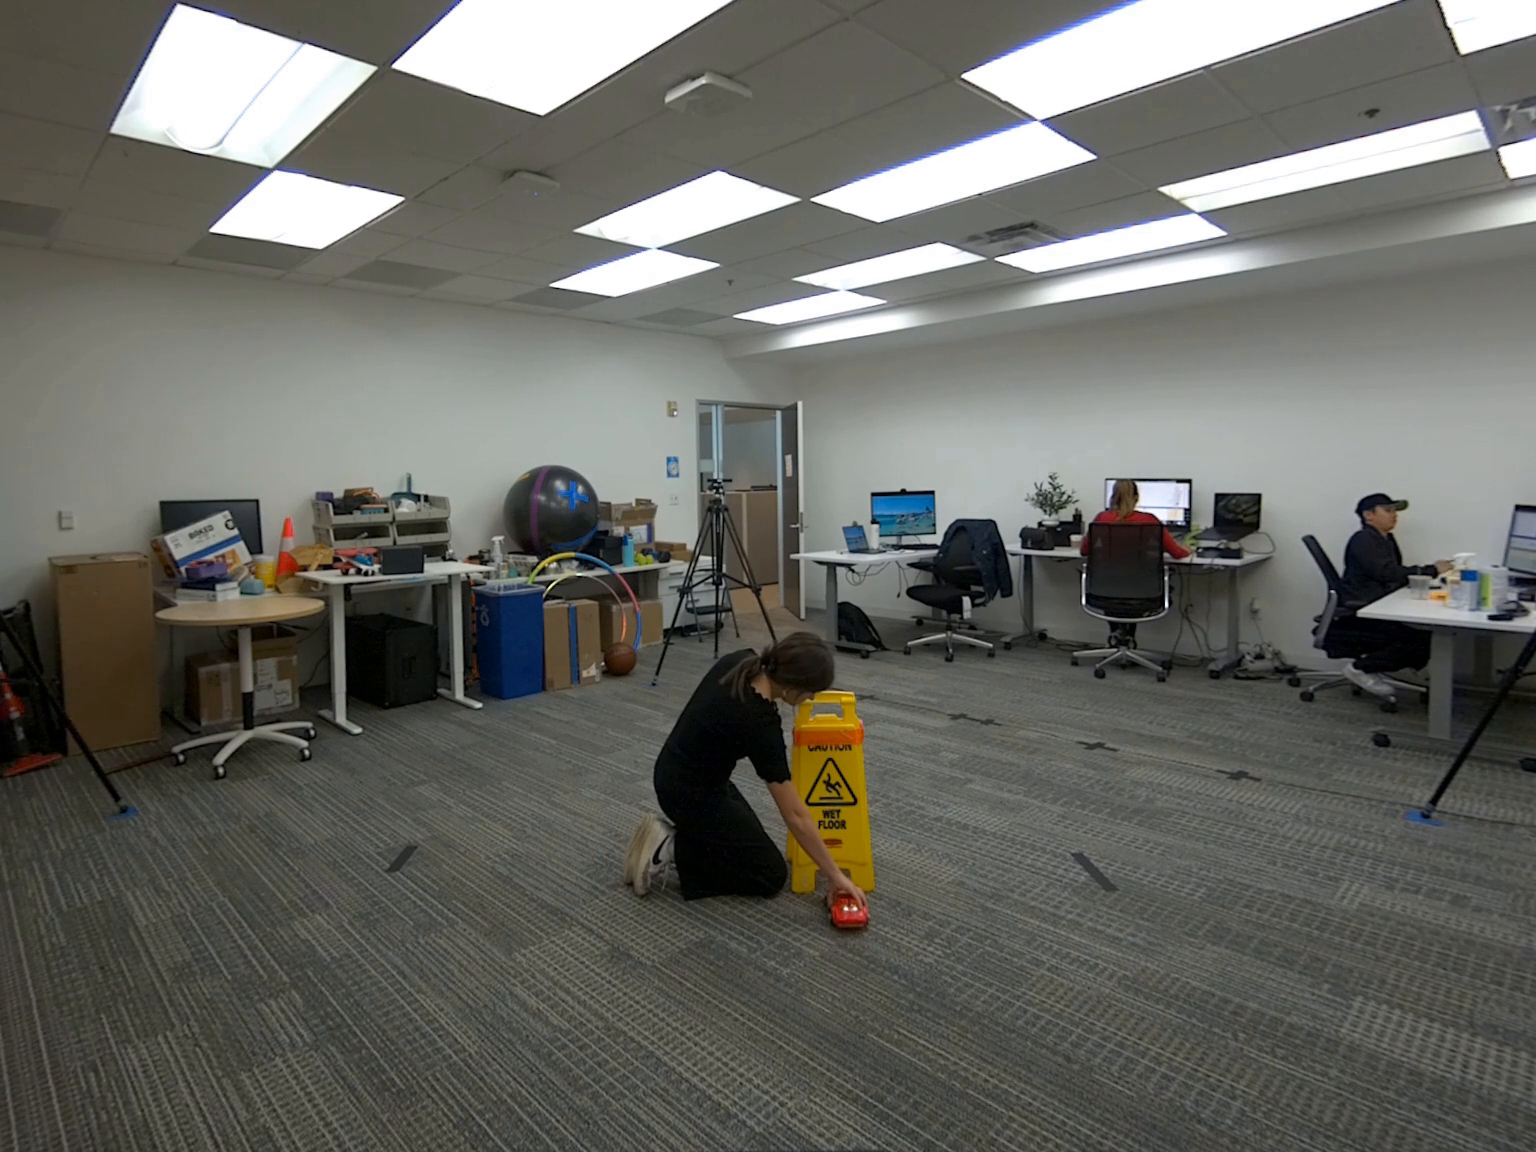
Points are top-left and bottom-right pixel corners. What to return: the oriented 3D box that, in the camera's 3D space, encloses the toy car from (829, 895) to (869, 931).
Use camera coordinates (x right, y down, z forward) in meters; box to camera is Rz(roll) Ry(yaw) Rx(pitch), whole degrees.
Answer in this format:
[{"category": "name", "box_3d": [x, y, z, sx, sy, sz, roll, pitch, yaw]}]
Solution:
[{"category": "toy car", "box_3d": [0.250, 1.061, 2.711, 0.130, 0.084, 0.252, 0, -6, 1]}]
